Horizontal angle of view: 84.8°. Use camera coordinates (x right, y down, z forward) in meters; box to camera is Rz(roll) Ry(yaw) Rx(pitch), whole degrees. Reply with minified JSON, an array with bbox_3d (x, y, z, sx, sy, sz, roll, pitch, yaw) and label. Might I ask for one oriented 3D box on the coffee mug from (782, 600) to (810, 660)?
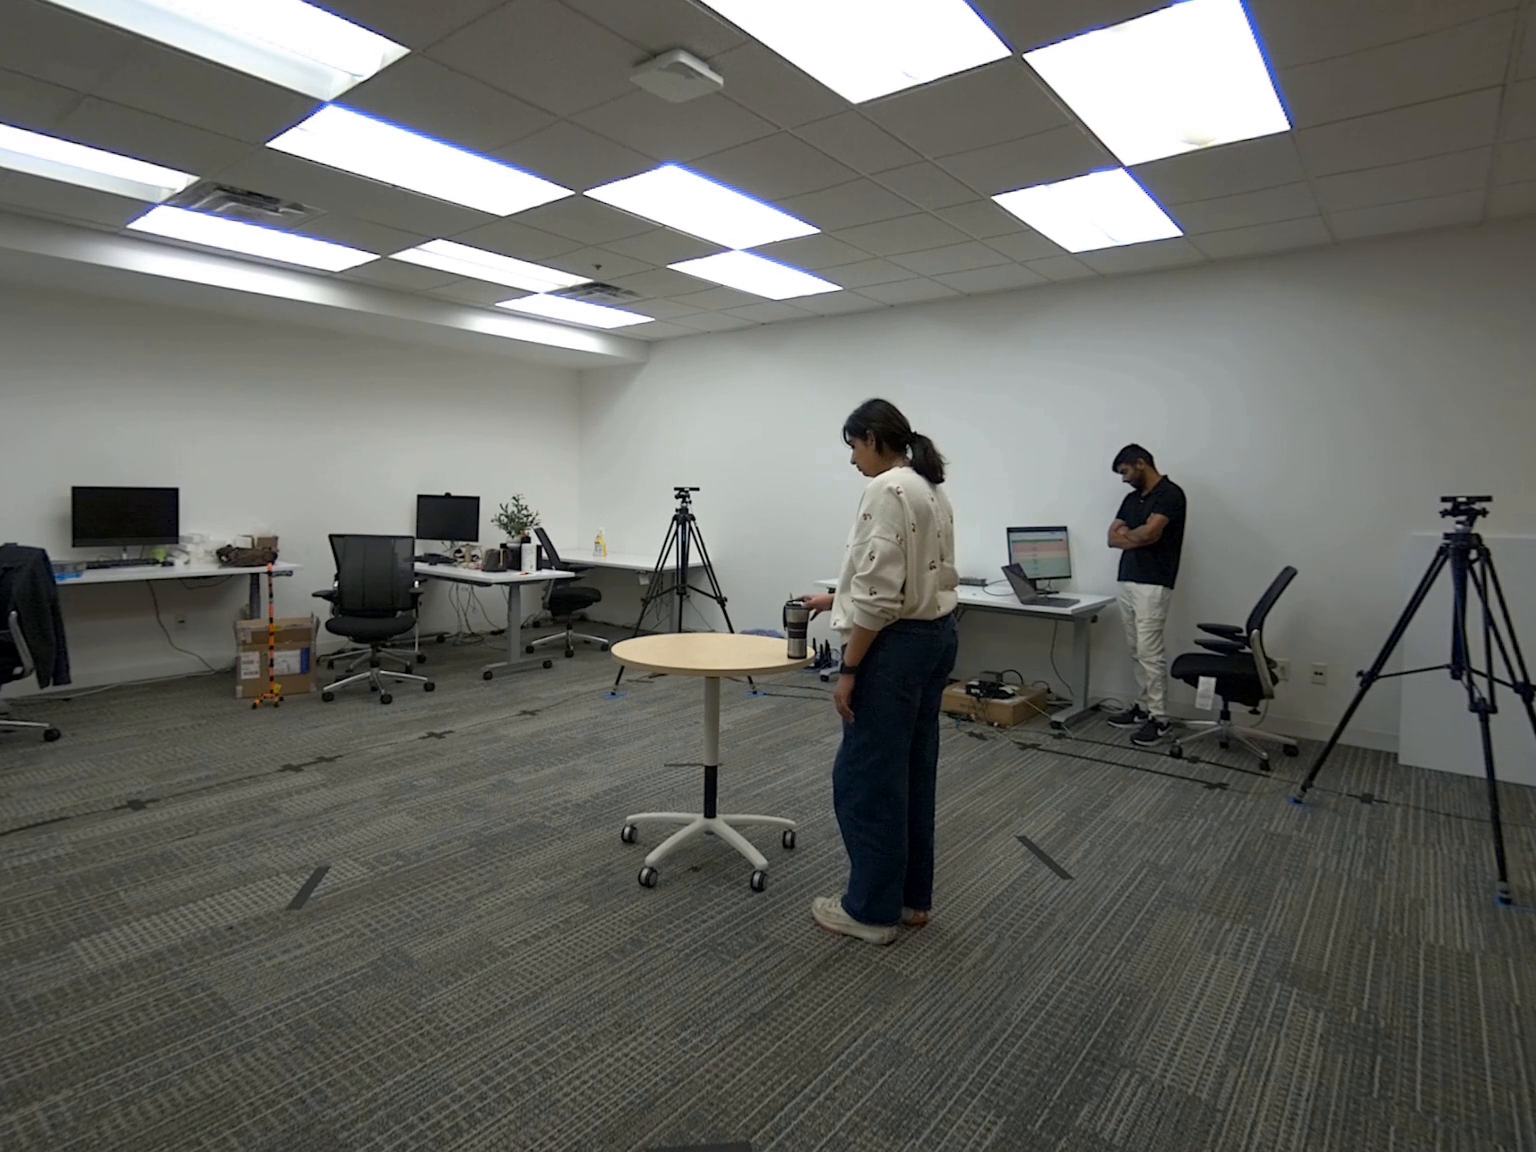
[{"bbox_3d":[0.099,0.189,3.079,0.087,0.202,0.124,-2,5,-11],"label":"coffee mug"}]
